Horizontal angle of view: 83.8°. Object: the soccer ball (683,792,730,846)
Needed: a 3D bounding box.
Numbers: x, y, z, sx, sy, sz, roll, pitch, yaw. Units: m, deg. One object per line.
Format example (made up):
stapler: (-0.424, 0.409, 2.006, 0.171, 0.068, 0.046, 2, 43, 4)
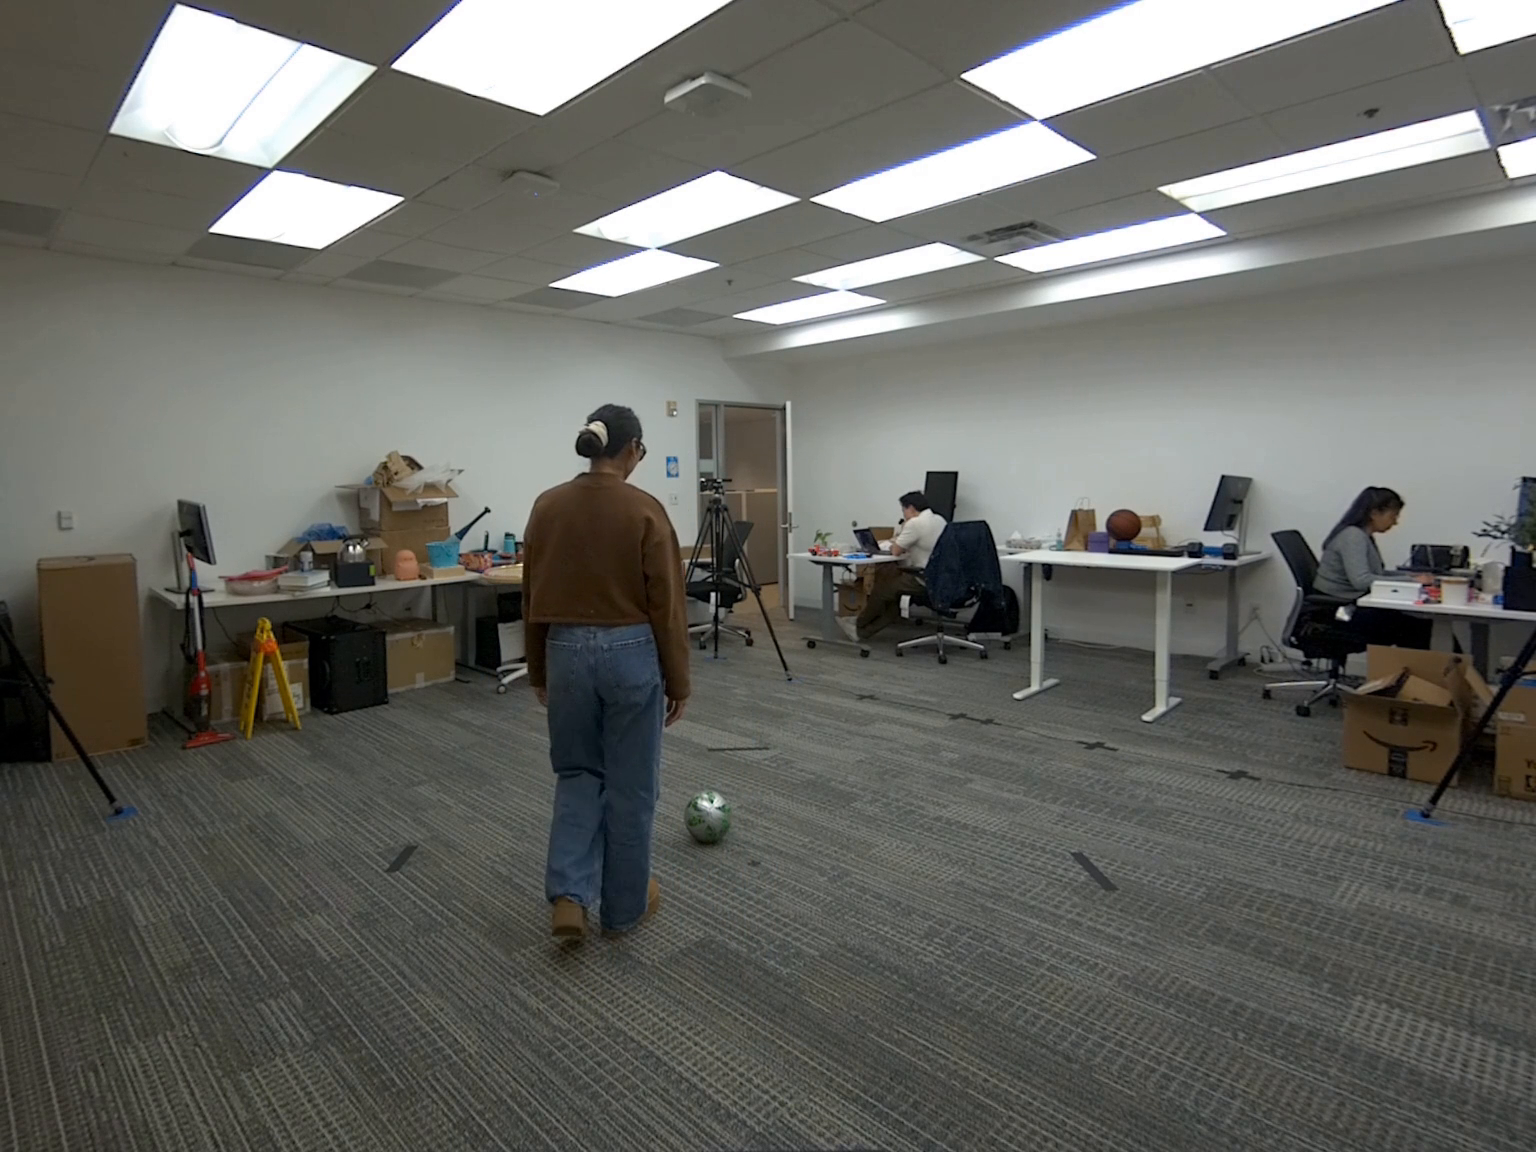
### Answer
soccer ball: (-0.230, 0.925, 3.307, 0.187, 0.187, 0.188, -1, 5, -2)
